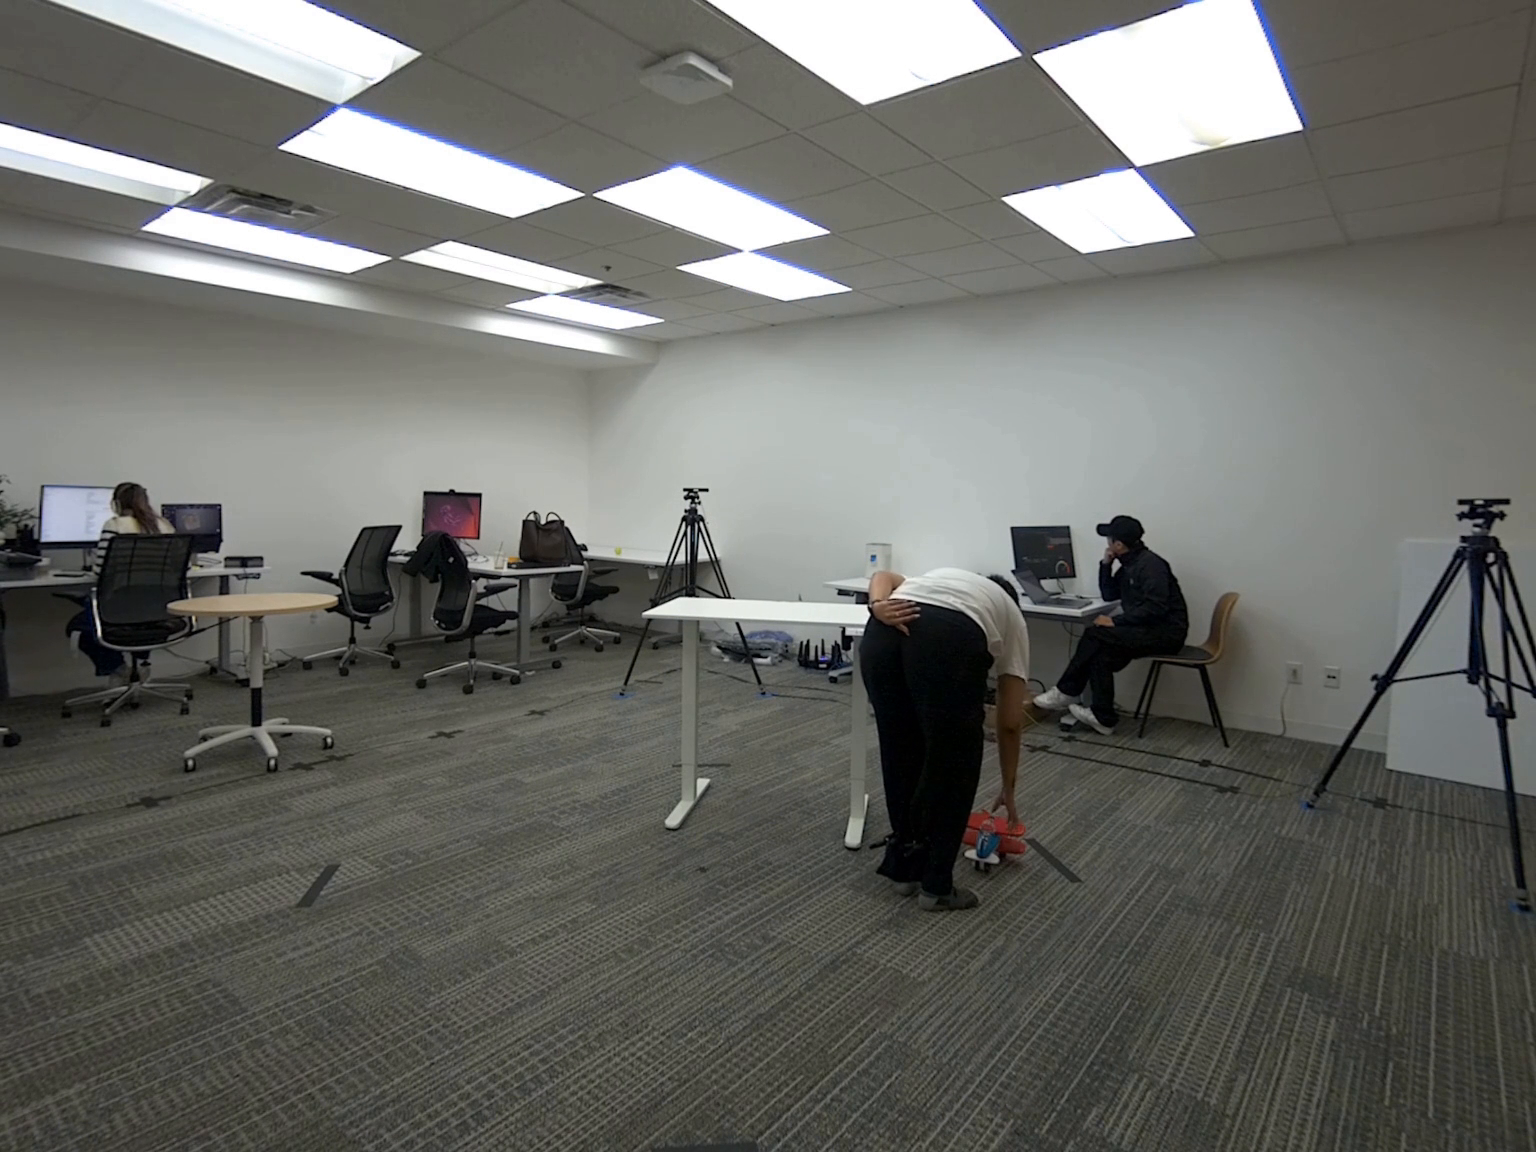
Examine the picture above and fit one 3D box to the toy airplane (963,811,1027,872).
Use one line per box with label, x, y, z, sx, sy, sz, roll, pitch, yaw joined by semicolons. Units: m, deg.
toy airplane;0.854;1.008;3.231;0.251;0.156;0.260;2;4;0
